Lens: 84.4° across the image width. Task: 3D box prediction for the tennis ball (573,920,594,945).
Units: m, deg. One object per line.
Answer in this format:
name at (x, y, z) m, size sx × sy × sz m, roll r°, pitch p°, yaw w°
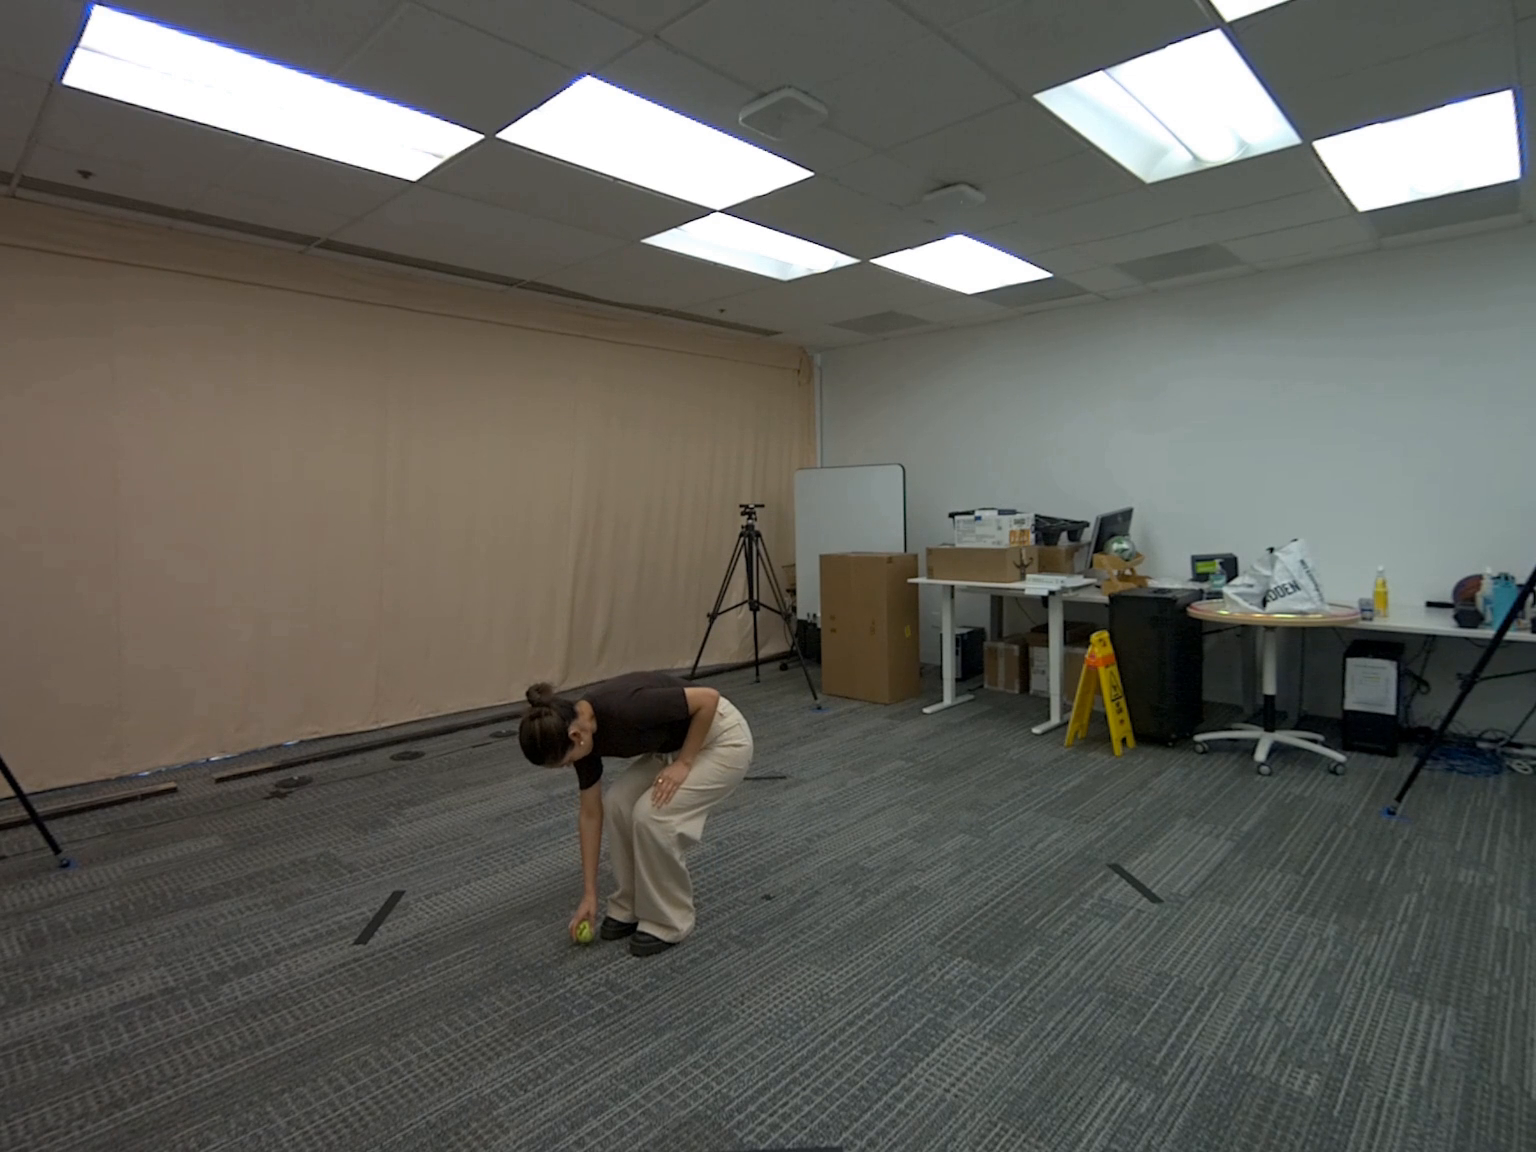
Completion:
tennis ball at (-0.584, 1.127, 2.686) m, size 0.066 × 0.066 × 0.067 m, roll -1°, pitch 4°, yaw -2°
